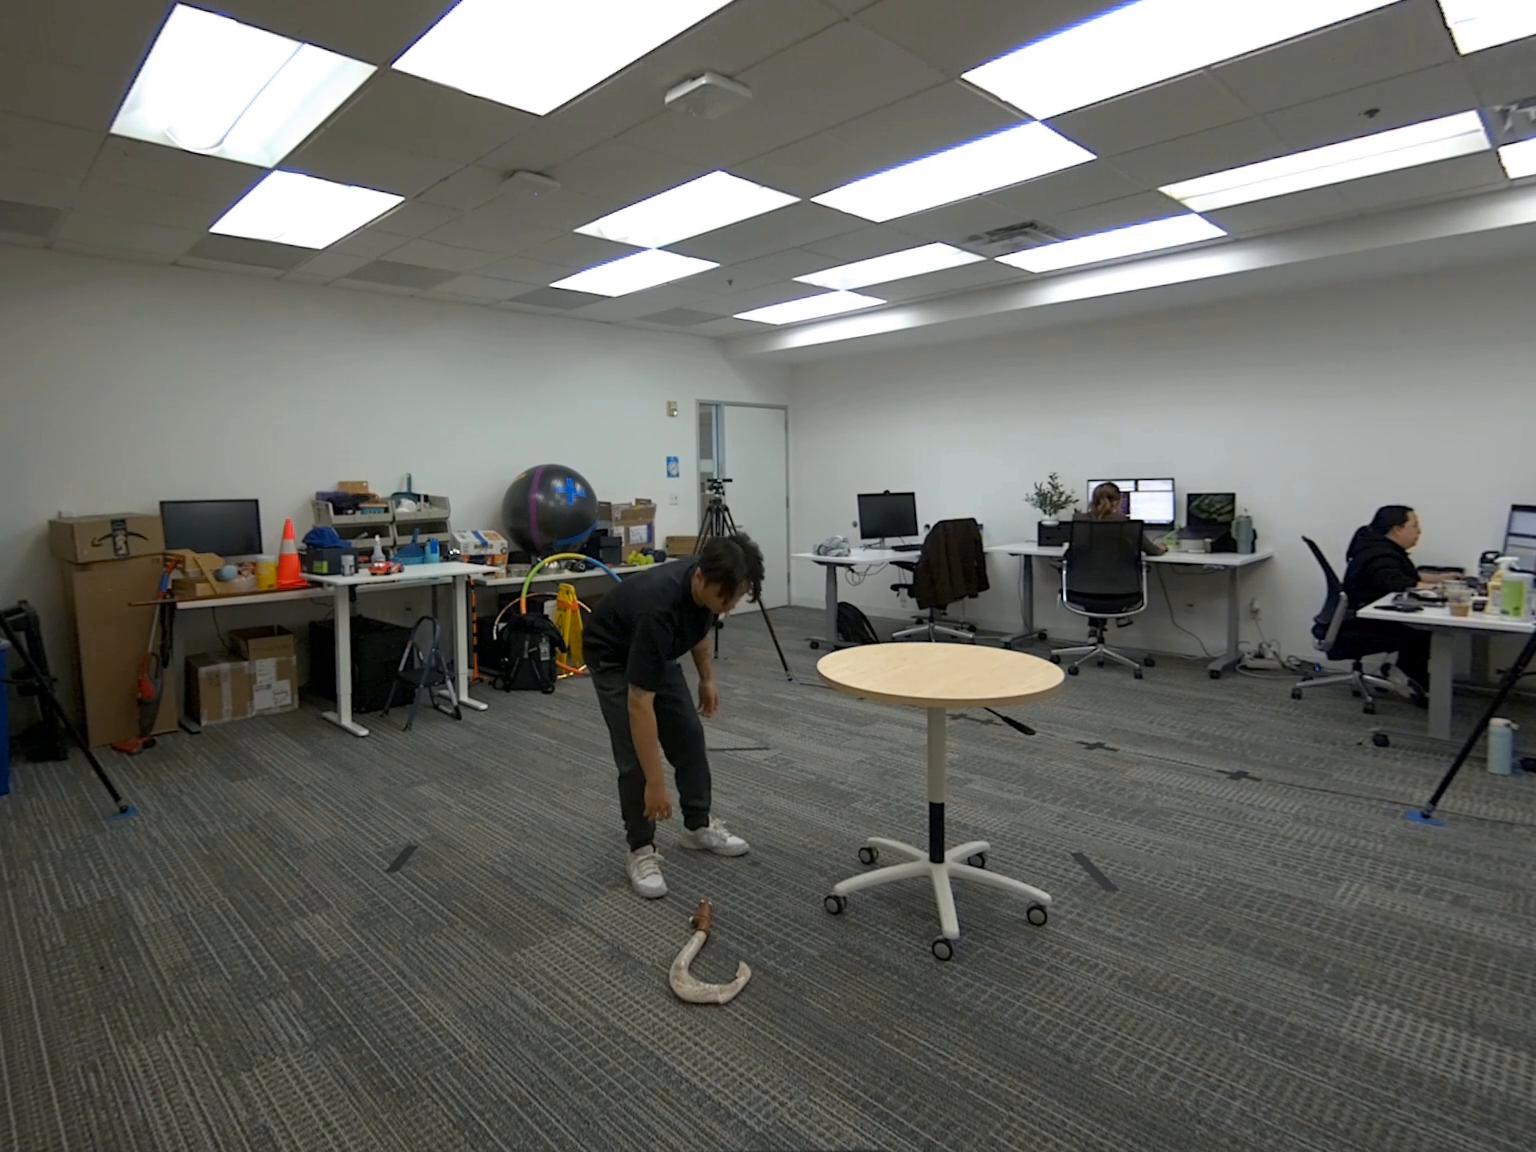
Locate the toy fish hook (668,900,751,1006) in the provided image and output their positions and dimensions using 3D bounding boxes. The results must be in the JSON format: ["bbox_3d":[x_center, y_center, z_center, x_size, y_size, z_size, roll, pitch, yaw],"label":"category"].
[{"bbox_3d":[-0.157,1.106,2.519,0.225,0.048,0.508,7,8,1],"label":"toy fish hook"}]
